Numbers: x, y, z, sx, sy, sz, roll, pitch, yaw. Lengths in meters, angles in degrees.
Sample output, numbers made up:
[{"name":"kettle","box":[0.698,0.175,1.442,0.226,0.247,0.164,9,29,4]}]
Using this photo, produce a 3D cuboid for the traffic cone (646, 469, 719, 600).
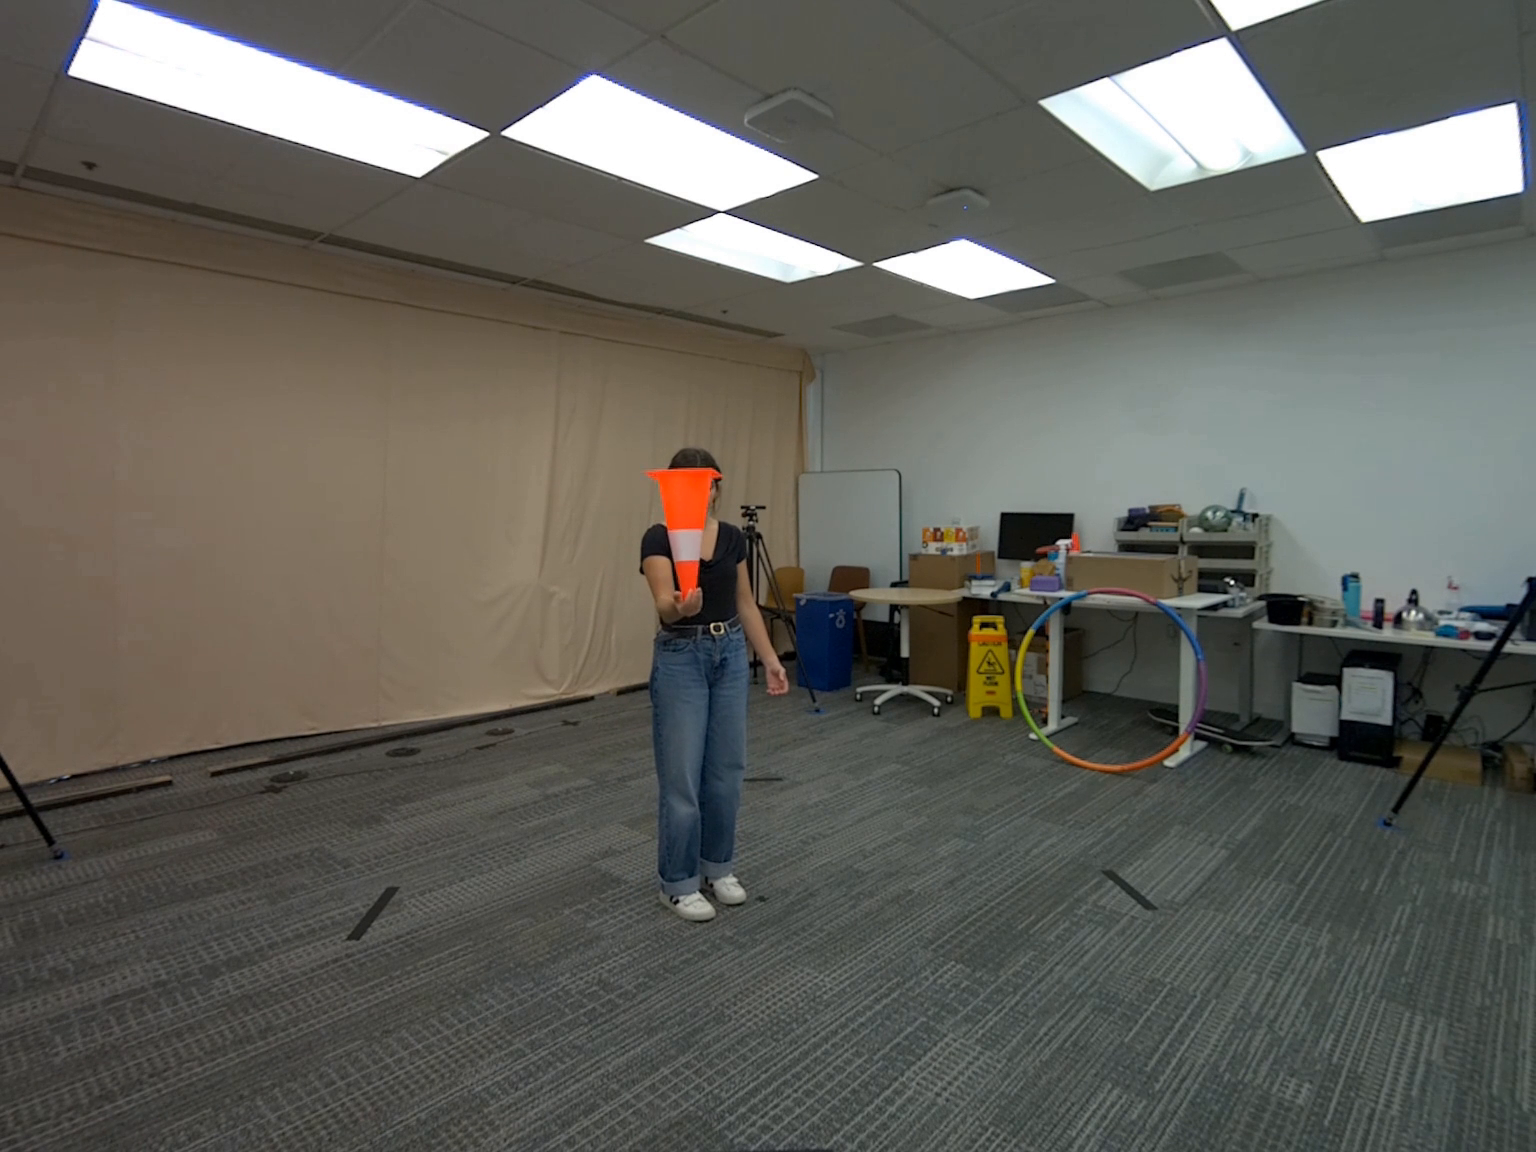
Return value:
[{"name":"traffic cone","box":[-0.234,-0.099,2.464,0.205,0.385,0.202,-3,-4,1]}]
